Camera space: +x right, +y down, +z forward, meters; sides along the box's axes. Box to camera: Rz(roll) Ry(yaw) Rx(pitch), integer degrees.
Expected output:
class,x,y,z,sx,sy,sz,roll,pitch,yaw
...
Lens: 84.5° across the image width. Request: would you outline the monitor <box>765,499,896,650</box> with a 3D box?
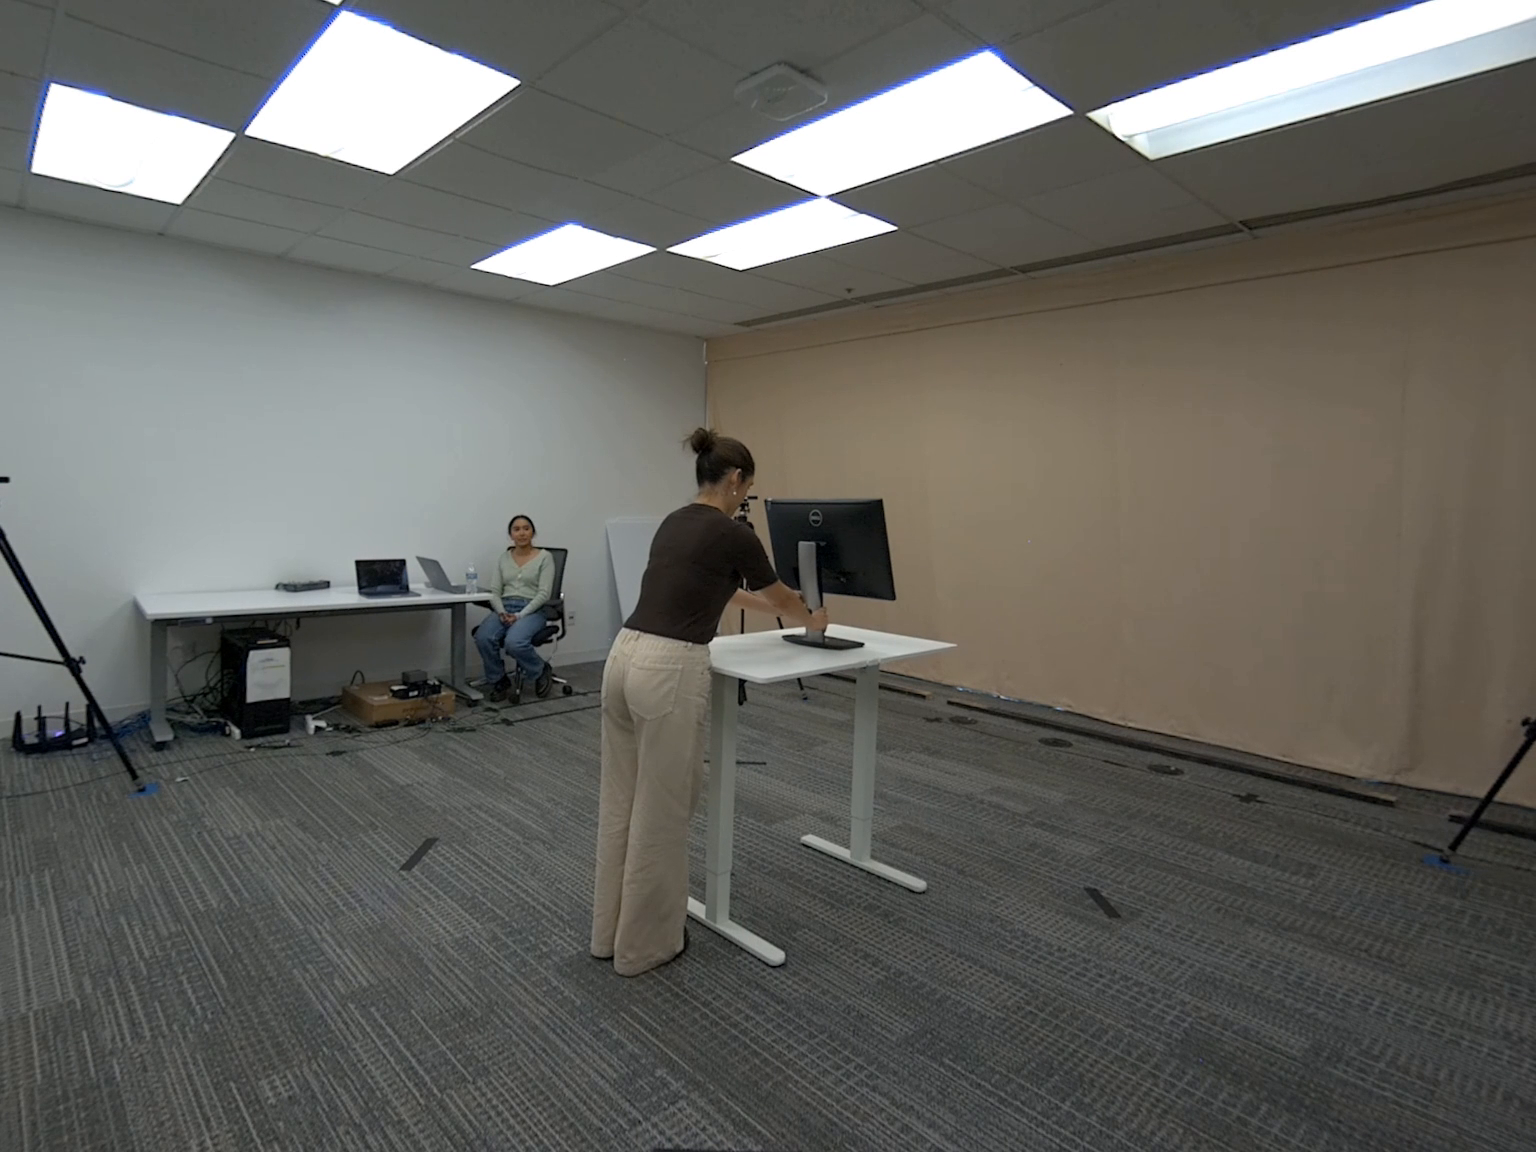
class,x,y,z,sx,sy,sz,roll,pitch,yaw
monitor,0.185,-0.015,2.968,0.543,0.516,0.170,4,1,44
